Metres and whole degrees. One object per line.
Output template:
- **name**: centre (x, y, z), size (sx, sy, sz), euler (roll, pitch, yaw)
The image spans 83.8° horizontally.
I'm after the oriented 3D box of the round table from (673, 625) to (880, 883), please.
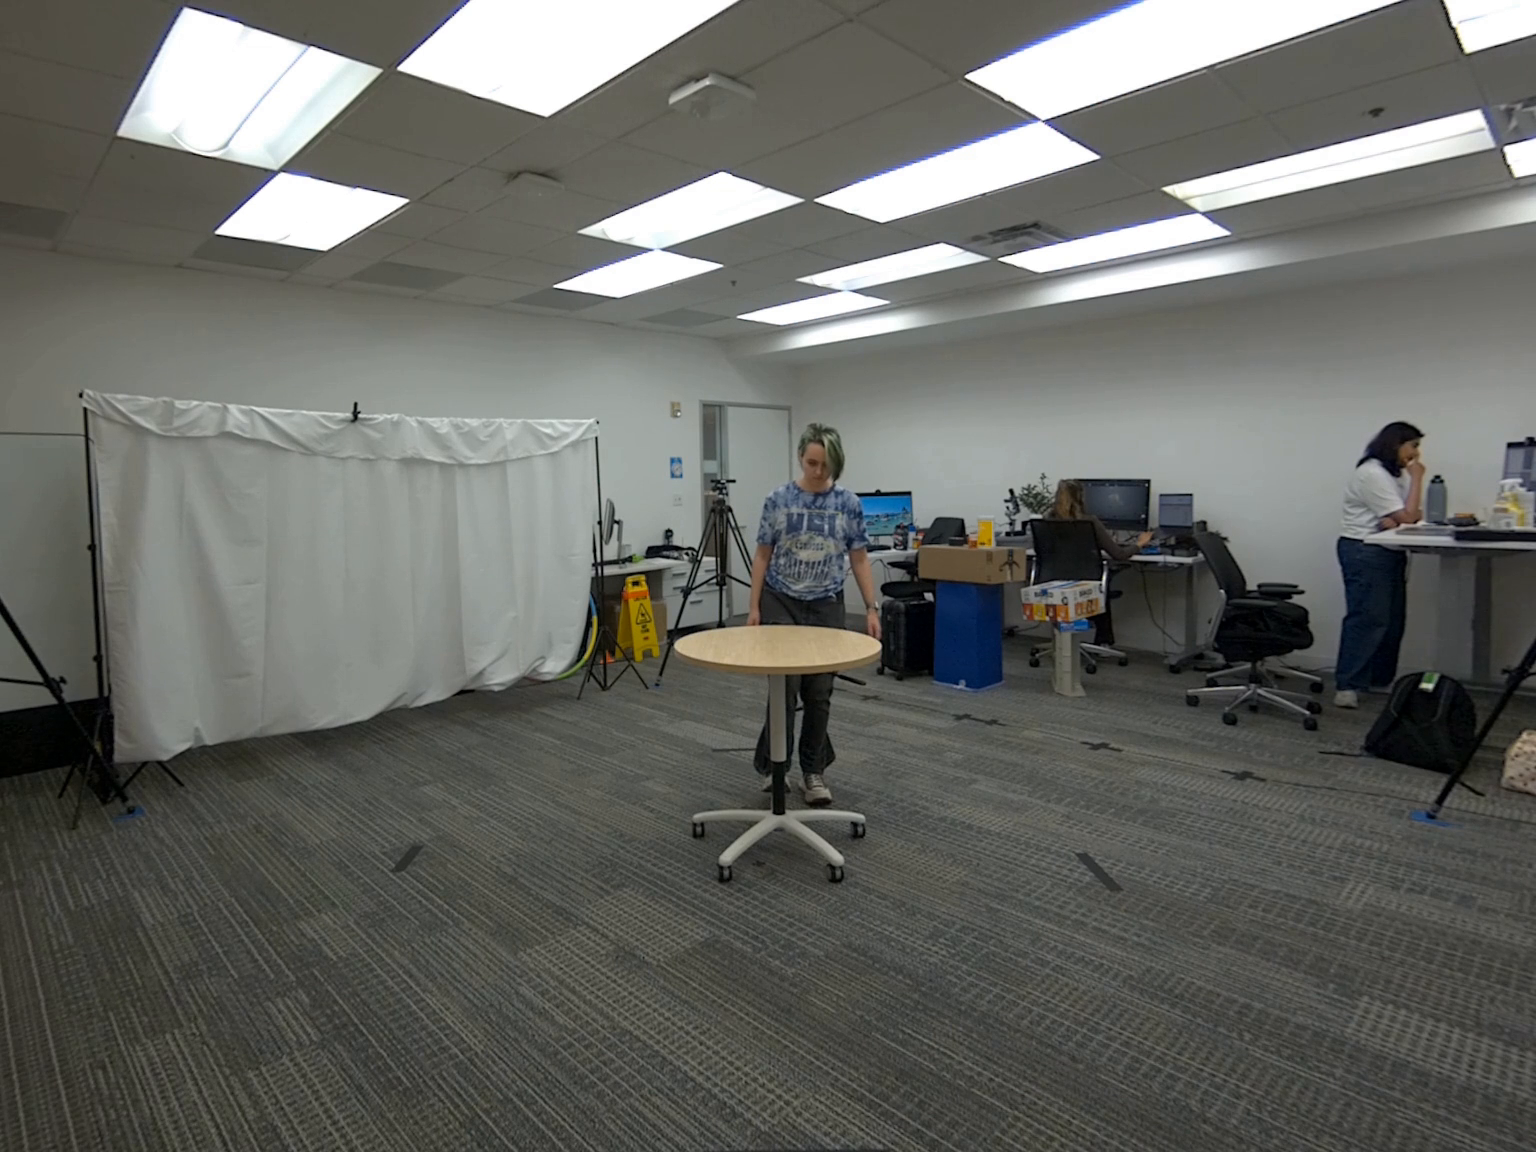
- **round table**: centre (0.036, 0.649, 3.189), size (0.763, 0.791, 0.768), euler (-1, 5, -2)
